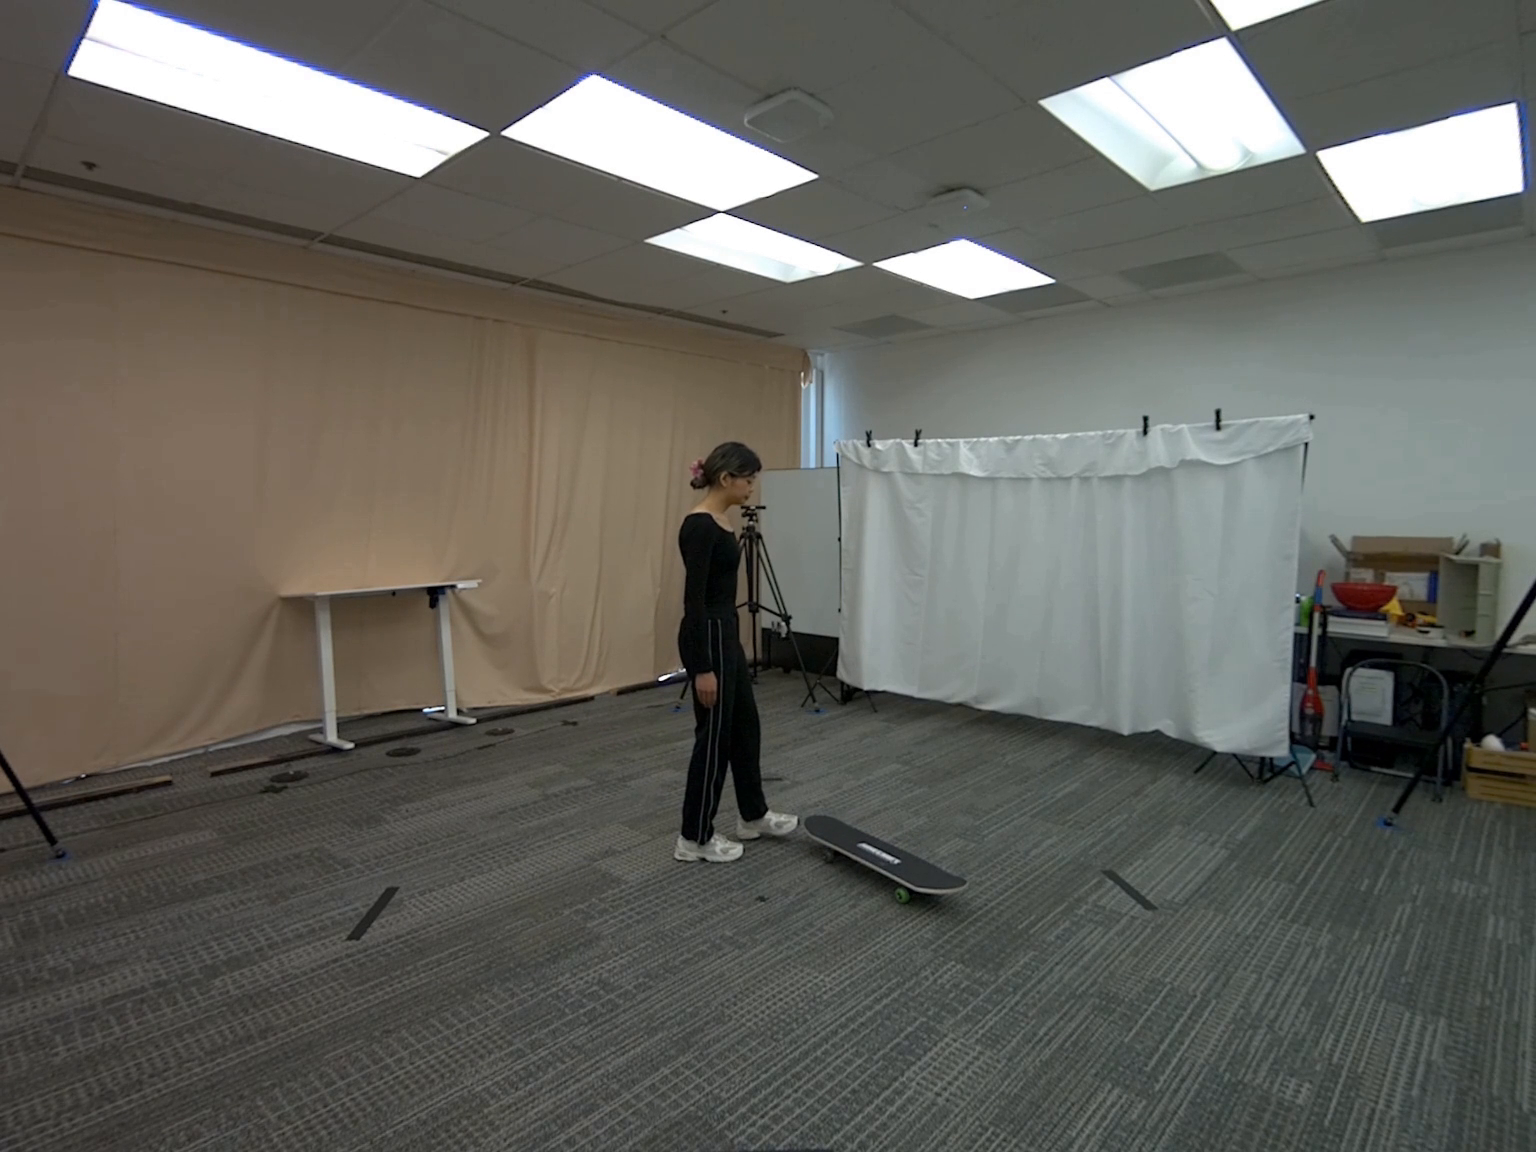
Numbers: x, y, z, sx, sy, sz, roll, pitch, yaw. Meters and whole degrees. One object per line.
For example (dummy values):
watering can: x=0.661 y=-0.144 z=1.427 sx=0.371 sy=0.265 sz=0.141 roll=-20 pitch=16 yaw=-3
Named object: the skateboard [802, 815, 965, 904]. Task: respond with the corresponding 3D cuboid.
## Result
skateboard: x=0.425 y=1.072 z=3.160 sx=0.188 sy=0.110 sz=0.810 roll=-3 pitch=5 yaw=-34
